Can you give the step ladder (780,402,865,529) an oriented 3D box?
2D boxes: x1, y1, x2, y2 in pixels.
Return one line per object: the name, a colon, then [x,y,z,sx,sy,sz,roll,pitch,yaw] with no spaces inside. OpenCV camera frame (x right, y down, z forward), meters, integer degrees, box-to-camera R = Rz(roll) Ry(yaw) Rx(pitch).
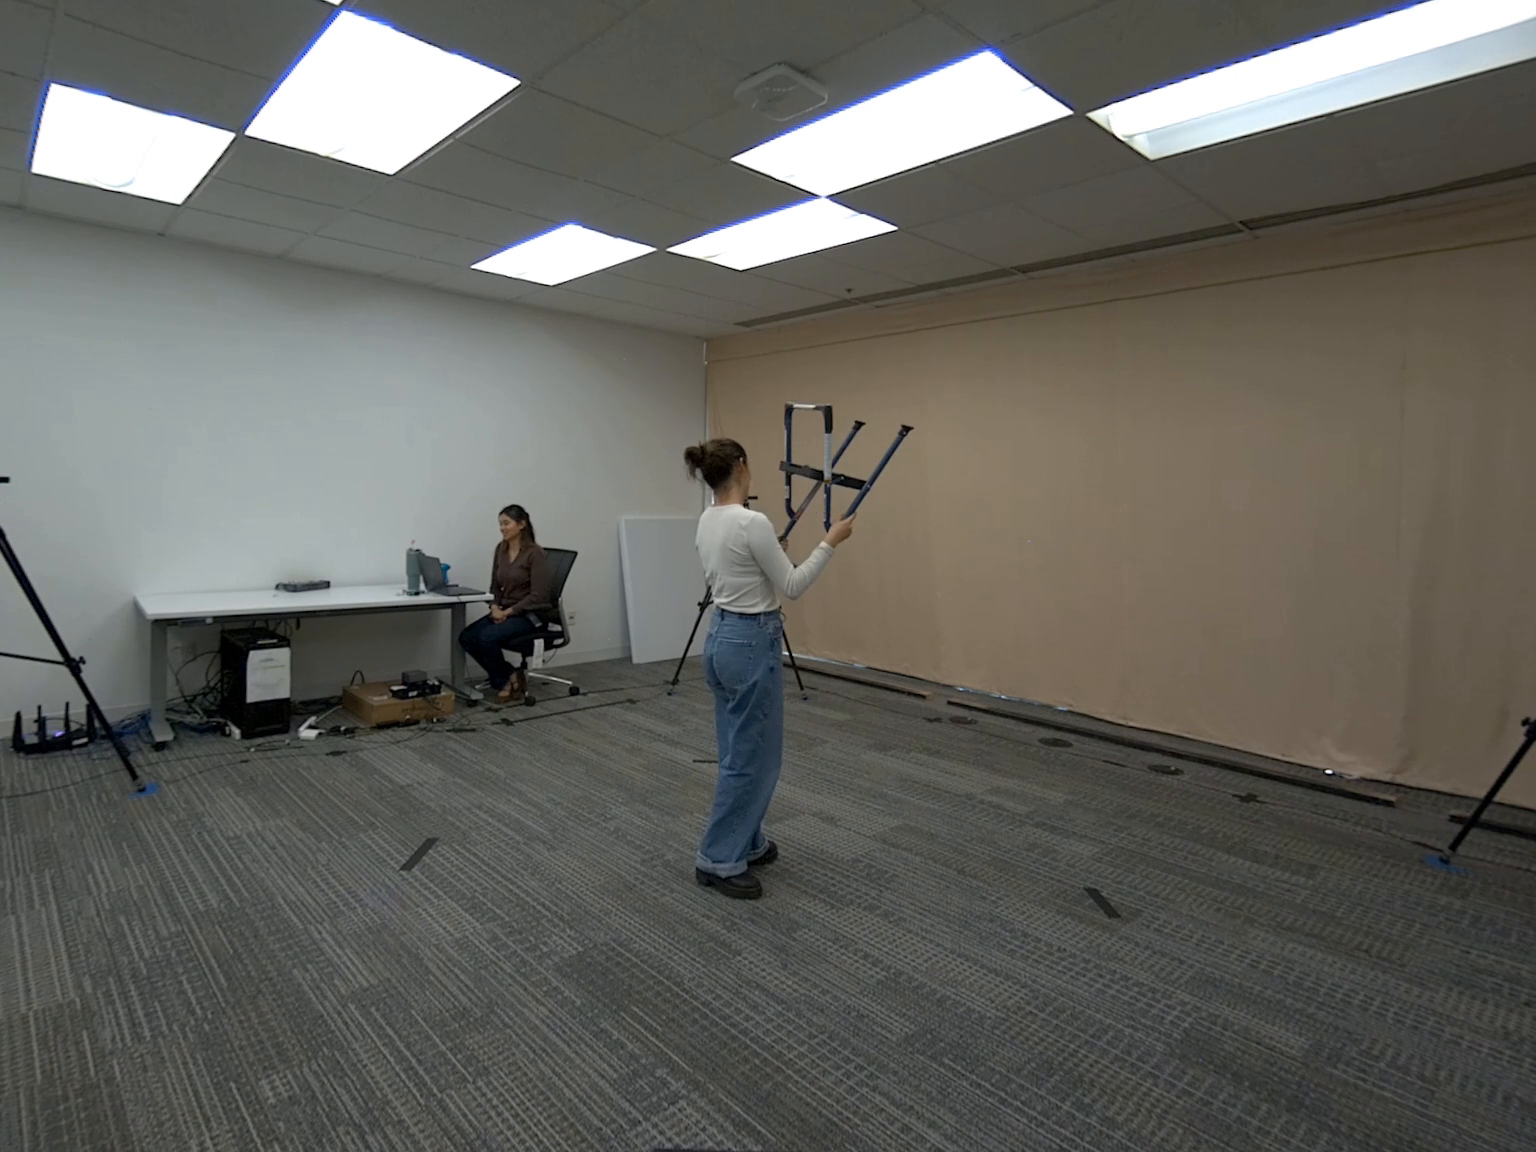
step ladder: [0.203,-0.311,3.159,0.343,0.604,0.439,12,6,-19]
